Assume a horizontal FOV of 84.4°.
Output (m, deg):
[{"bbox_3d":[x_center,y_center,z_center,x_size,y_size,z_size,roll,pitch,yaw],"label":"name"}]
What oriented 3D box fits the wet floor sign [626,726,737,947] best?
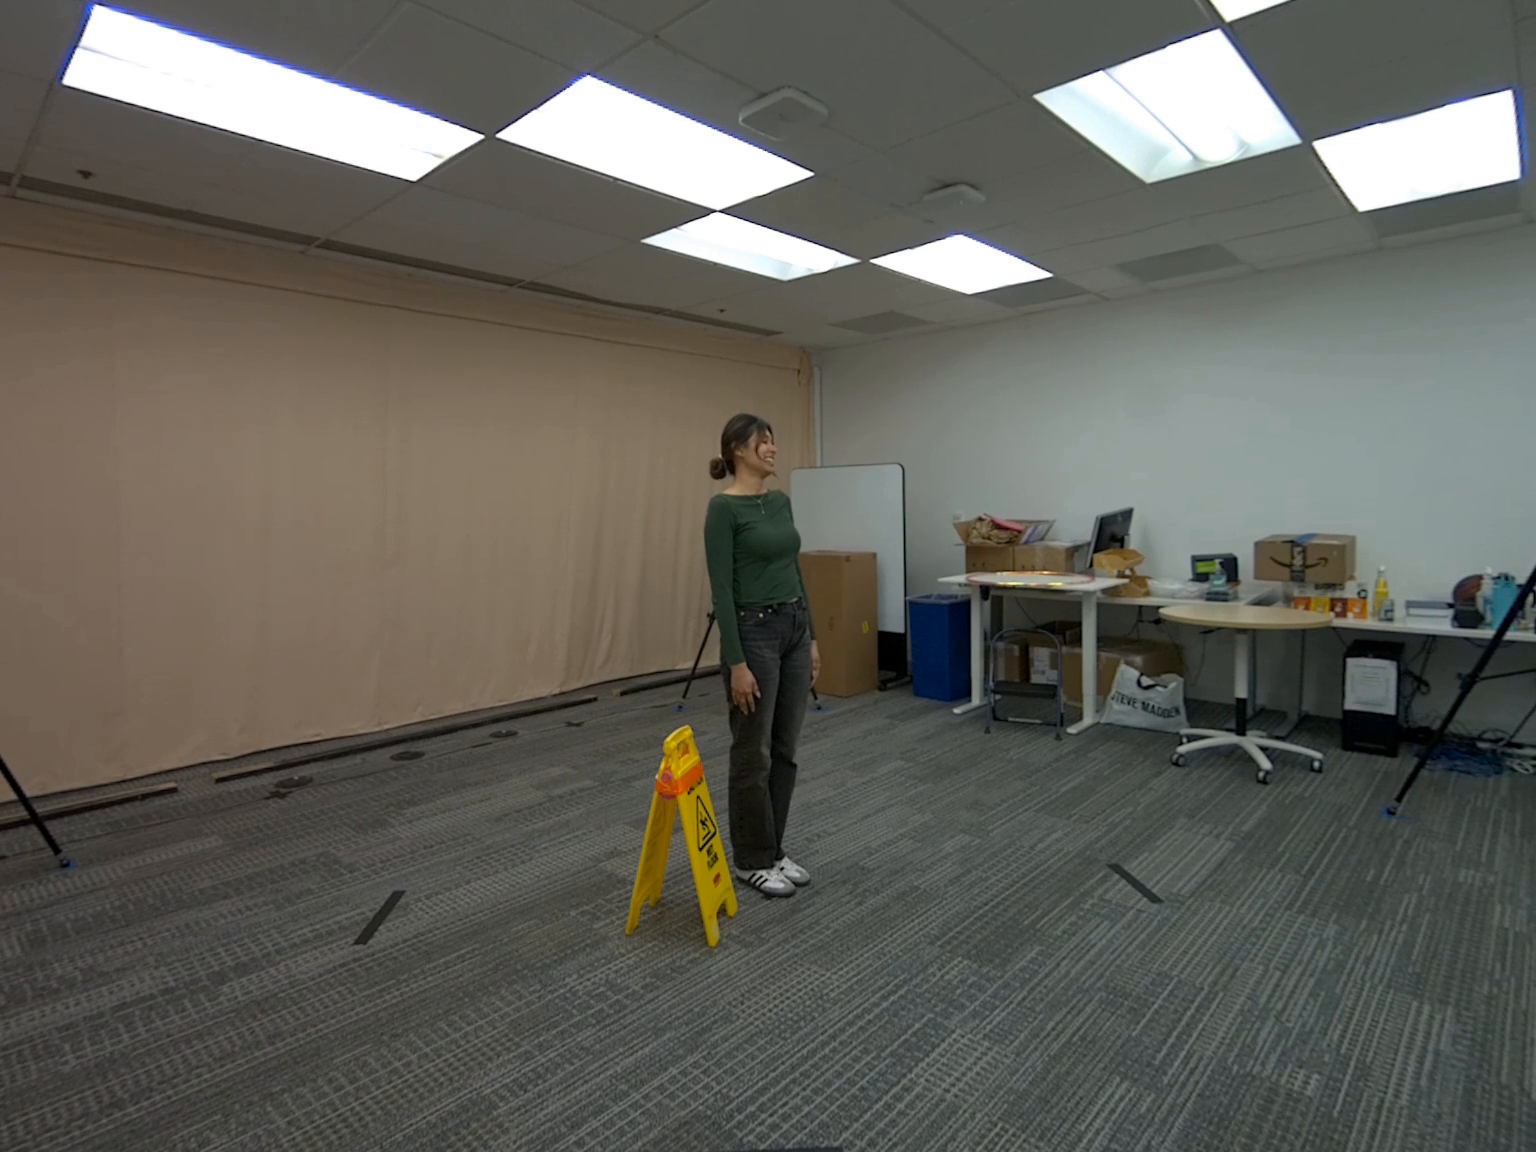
[{"bbox_3d":[-0.288,0.839,2.801,0.295,0.644,0.278,0,4,17],"label":"wet floor sign"}]
